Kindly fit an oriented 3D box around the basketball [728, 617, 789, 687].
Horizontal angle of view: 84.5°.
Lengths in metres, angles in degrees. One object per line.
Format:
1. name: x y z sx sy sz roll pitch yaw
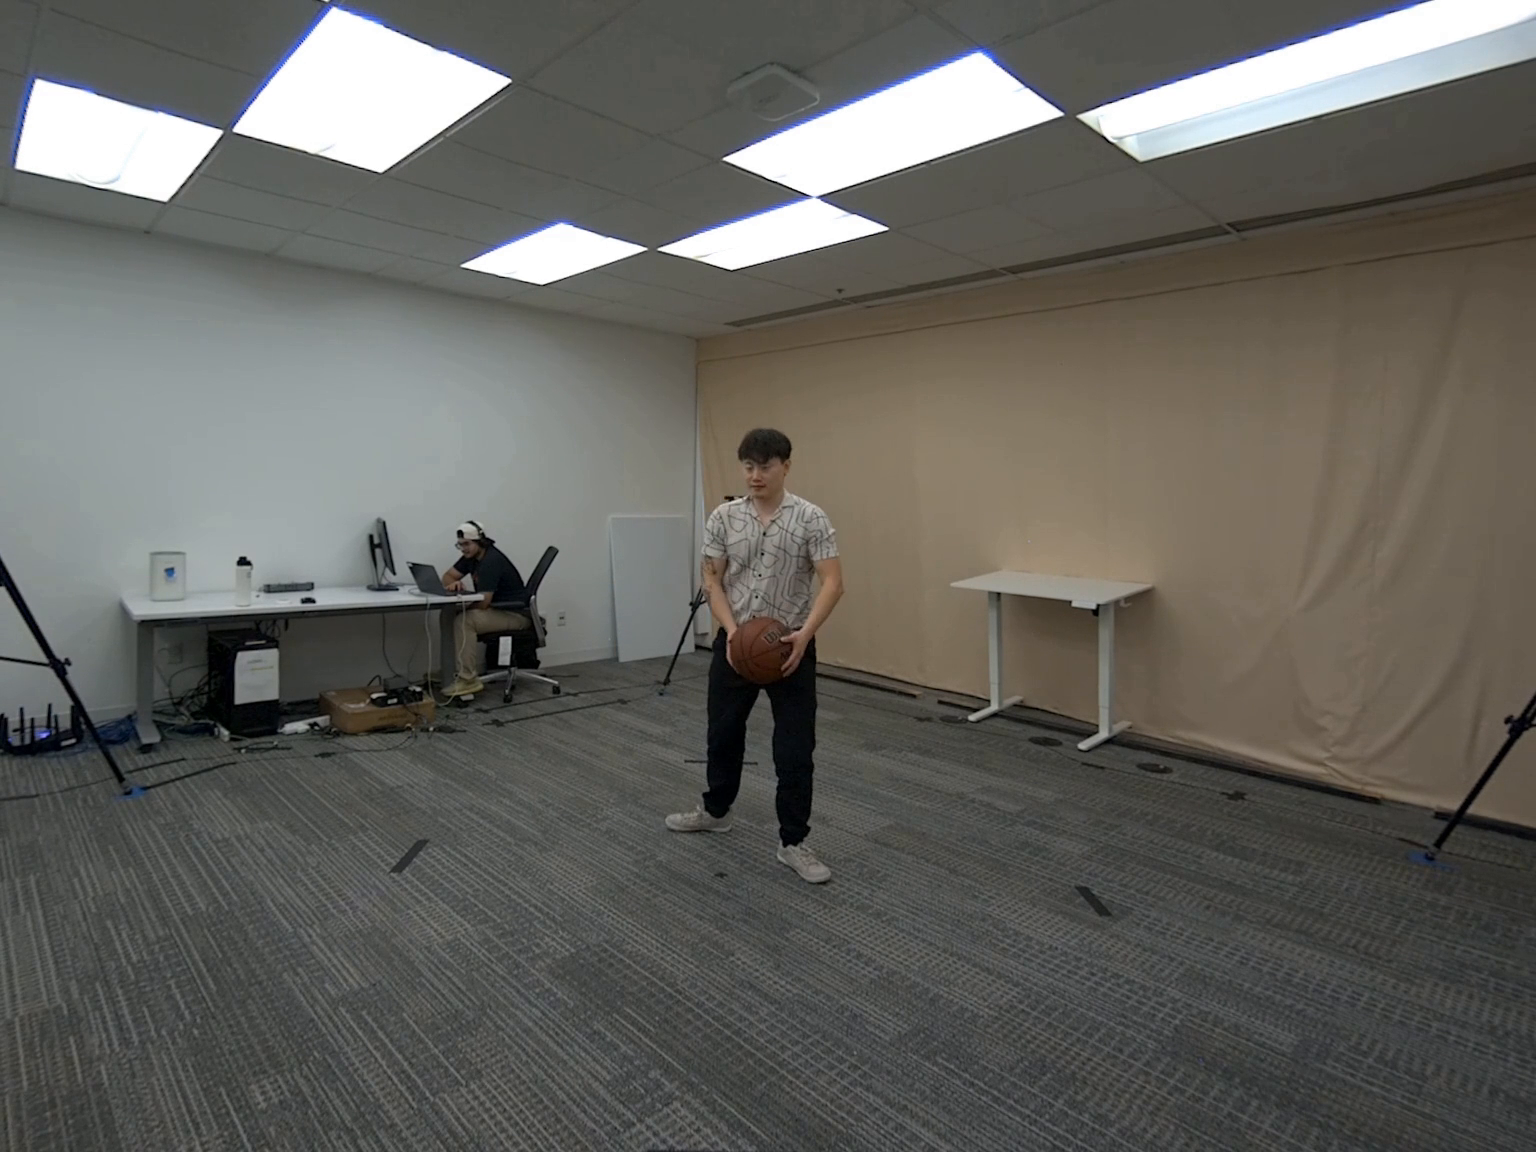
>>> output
1. basketball: -0.042 0.251 3.025 0.236 0.235 0.237 1 4 -1
